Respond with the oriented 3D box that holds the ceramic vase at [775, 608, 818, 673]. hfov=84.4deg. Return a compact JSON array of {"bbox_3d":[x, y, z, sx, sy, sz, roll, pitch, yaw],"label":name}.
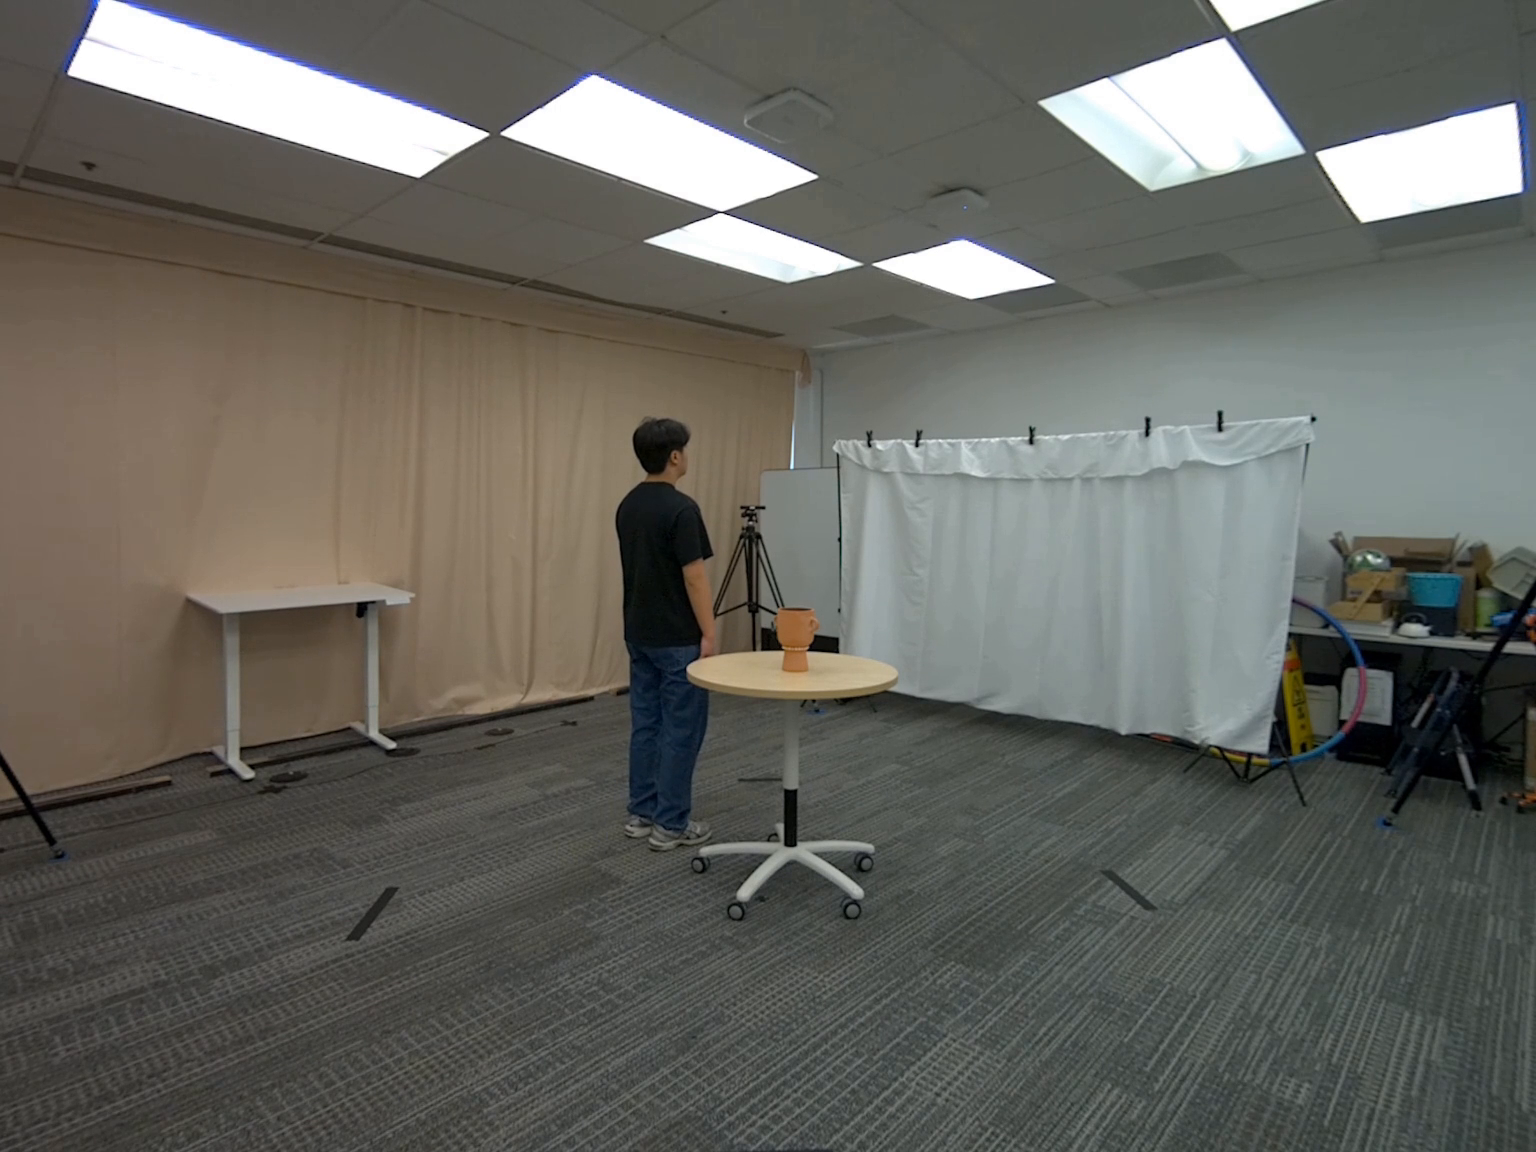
[{"bbox_3d":[0.107,0.233,3.051,0.133,0.219,0.161,-1,3,-13],"label":"ceramic vase"}]
